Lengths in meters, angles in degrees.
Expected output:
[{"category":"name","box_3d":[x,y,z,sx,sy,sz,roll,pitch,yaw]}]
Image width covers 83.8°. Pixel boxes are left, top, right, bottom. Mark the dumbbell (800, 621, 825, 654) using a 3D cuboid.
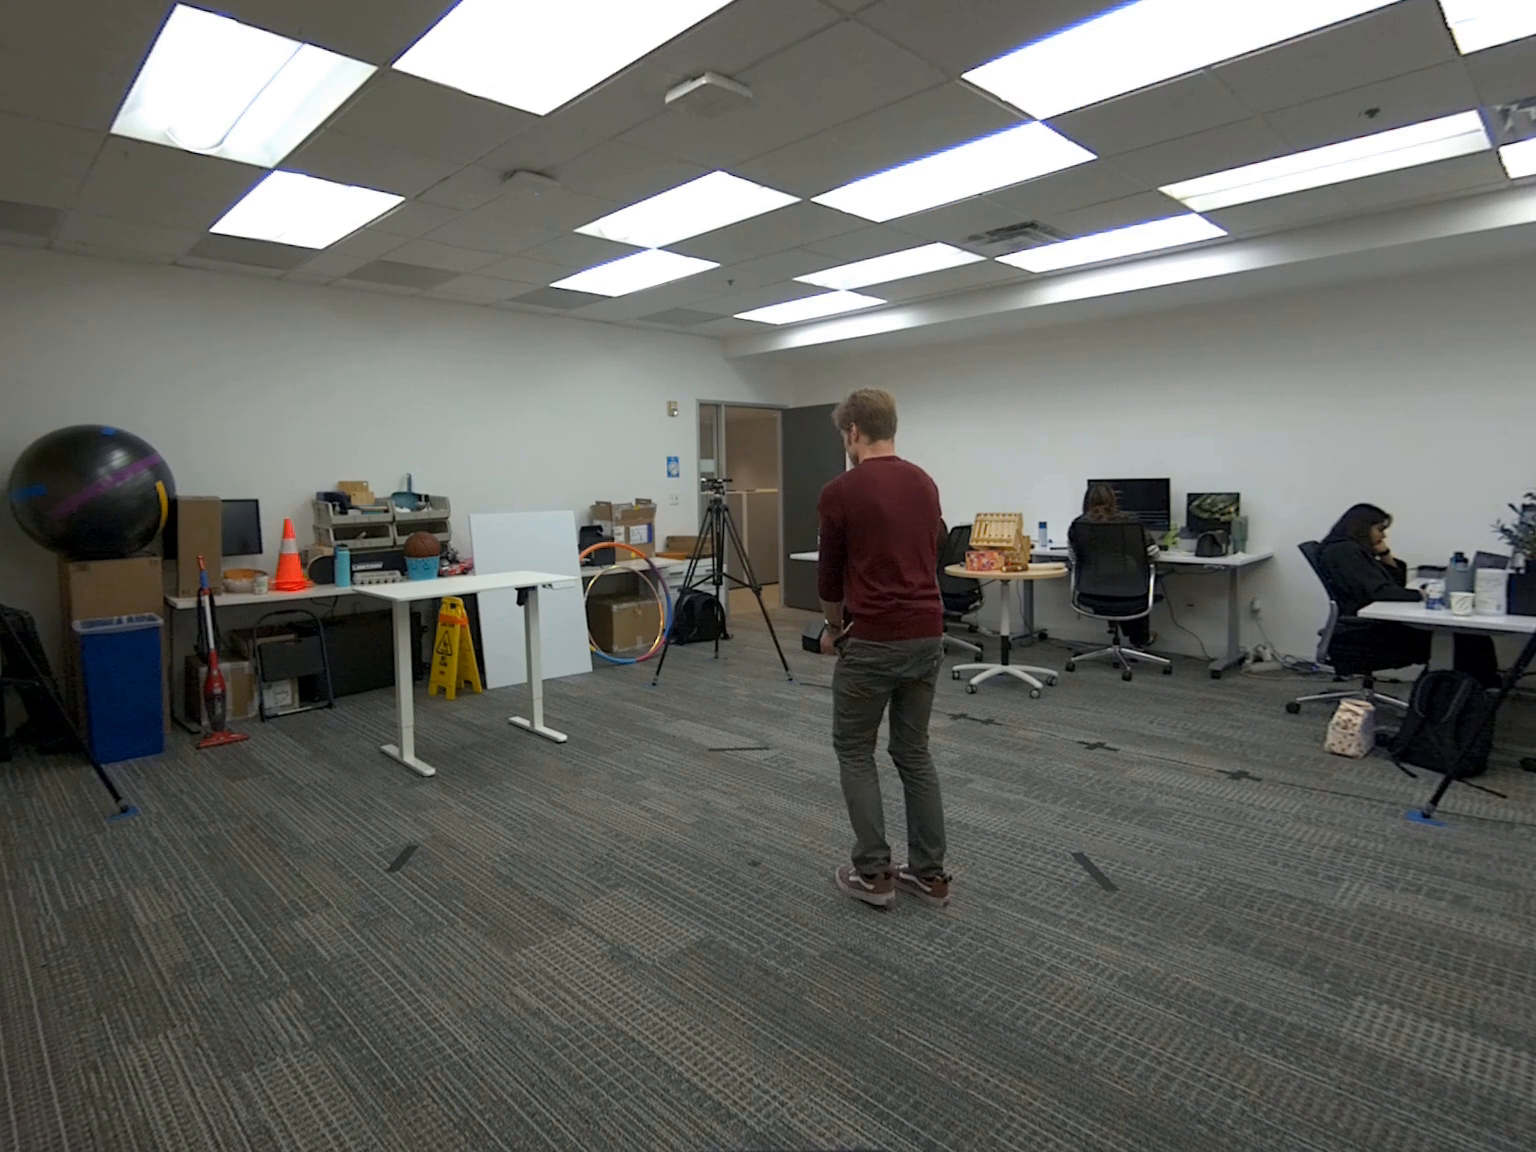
[{"category":"dumbbell","box_3d":[0.270,0.258,3.130,0.304,0.123,0.104,15,-31,37]}]
